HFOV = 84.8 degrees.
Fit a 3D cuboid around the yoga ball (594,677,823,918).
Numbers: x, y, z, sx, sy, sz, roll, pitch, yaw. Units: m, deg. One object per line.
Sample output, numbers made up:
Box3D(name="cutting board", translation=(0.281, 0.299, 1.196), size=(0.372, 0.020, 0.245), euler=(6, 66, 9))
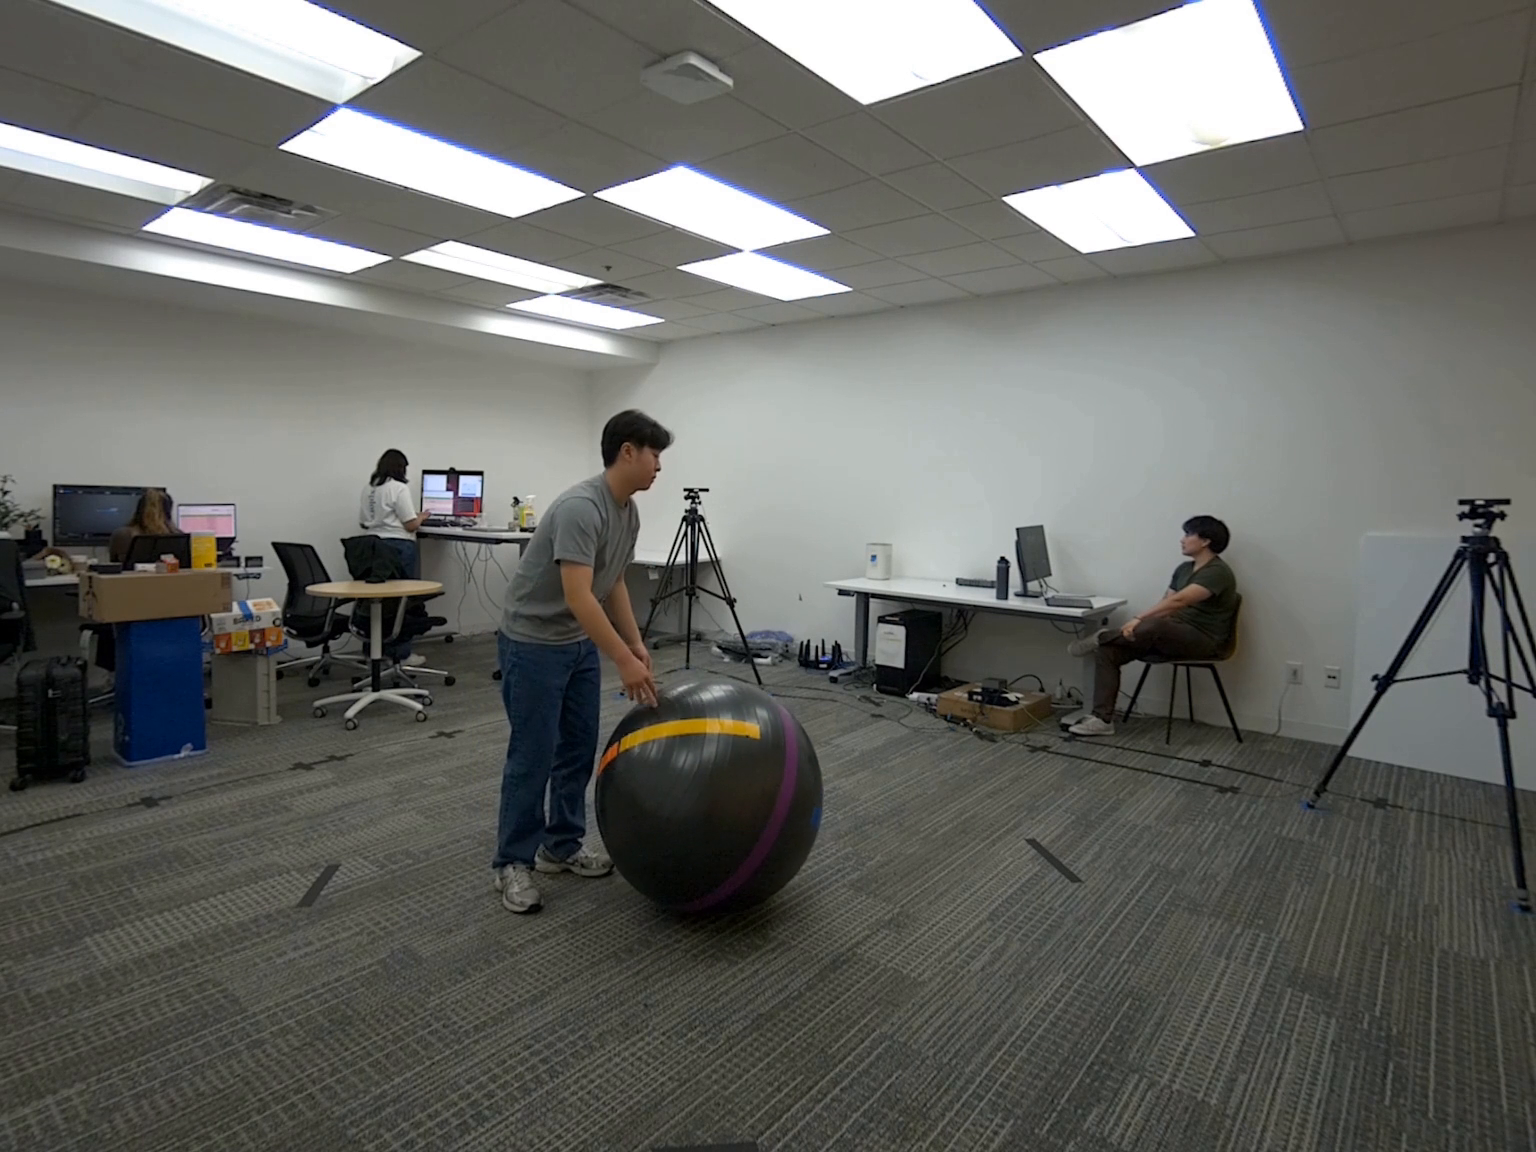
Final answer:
Box3D(name="yoga ball", translation=(-0.208, 0.725, 2.838), size=(0.757, 0.755, 0.762), euler=(1, 4, -2))
